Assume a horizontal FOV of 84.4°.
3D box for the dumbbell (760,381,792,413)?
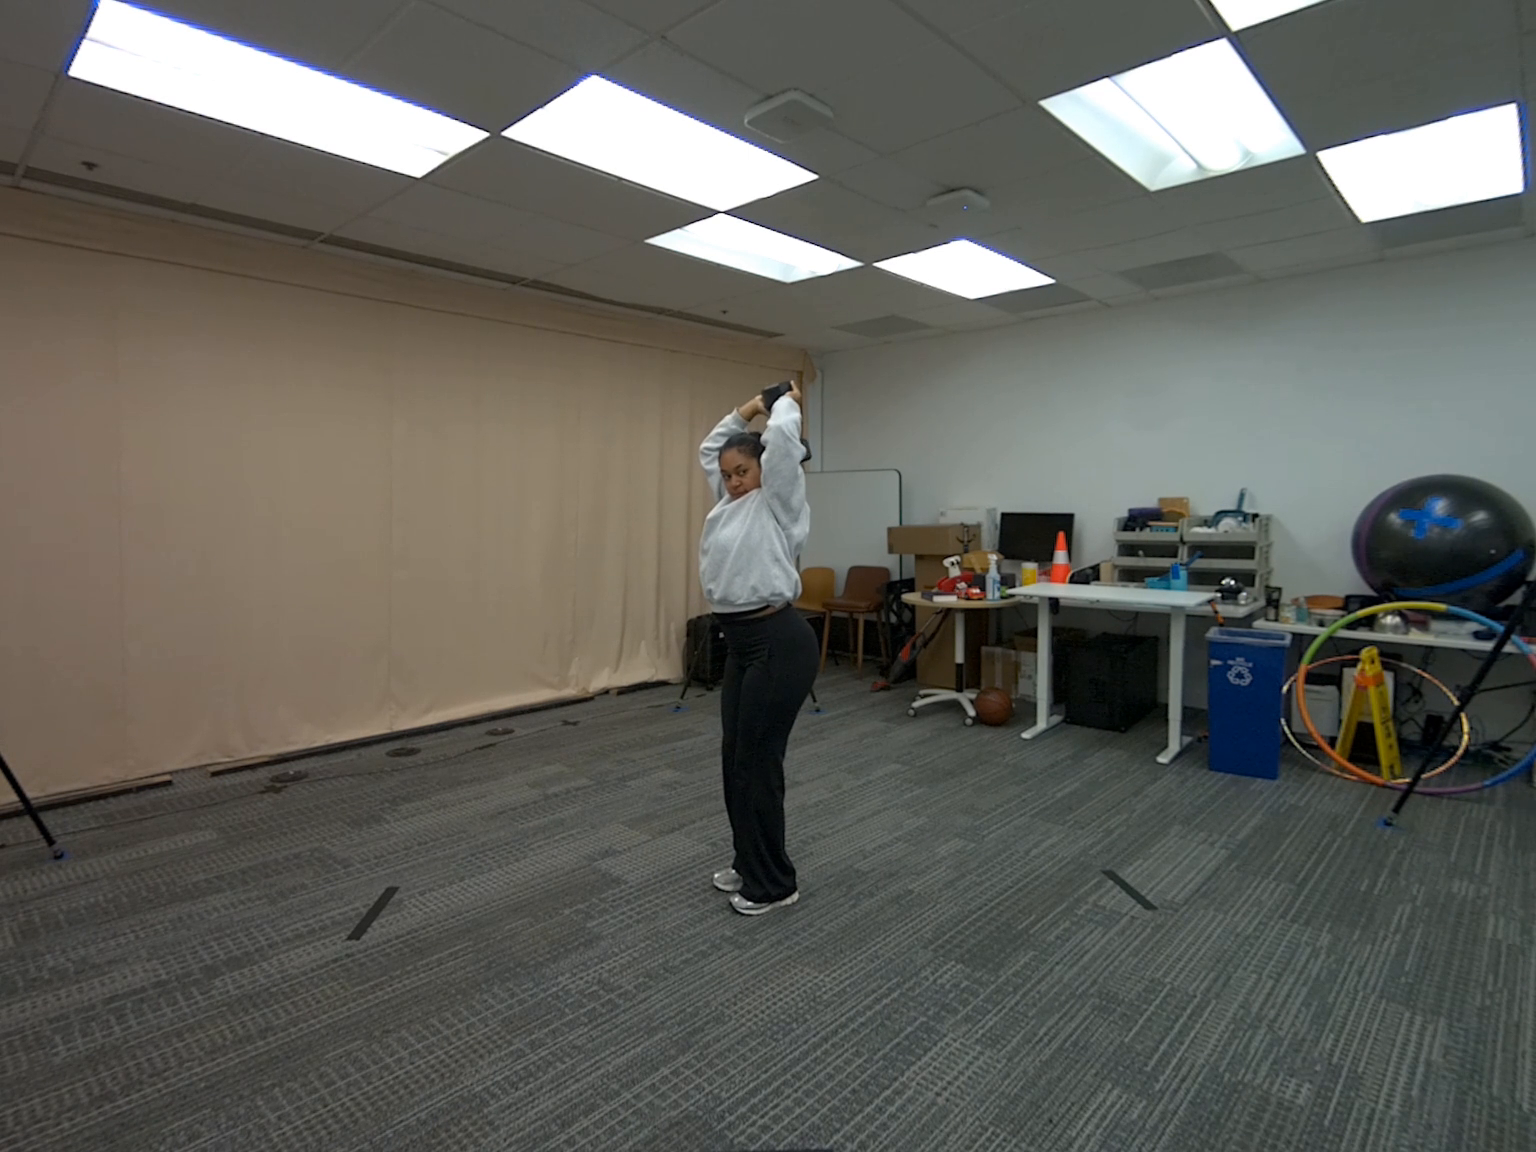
[{"bbox_3d":[0.069,-0.544,3.015,0.125,0.292,0.107,-11,7,22],"label":"dumbbell"}]
